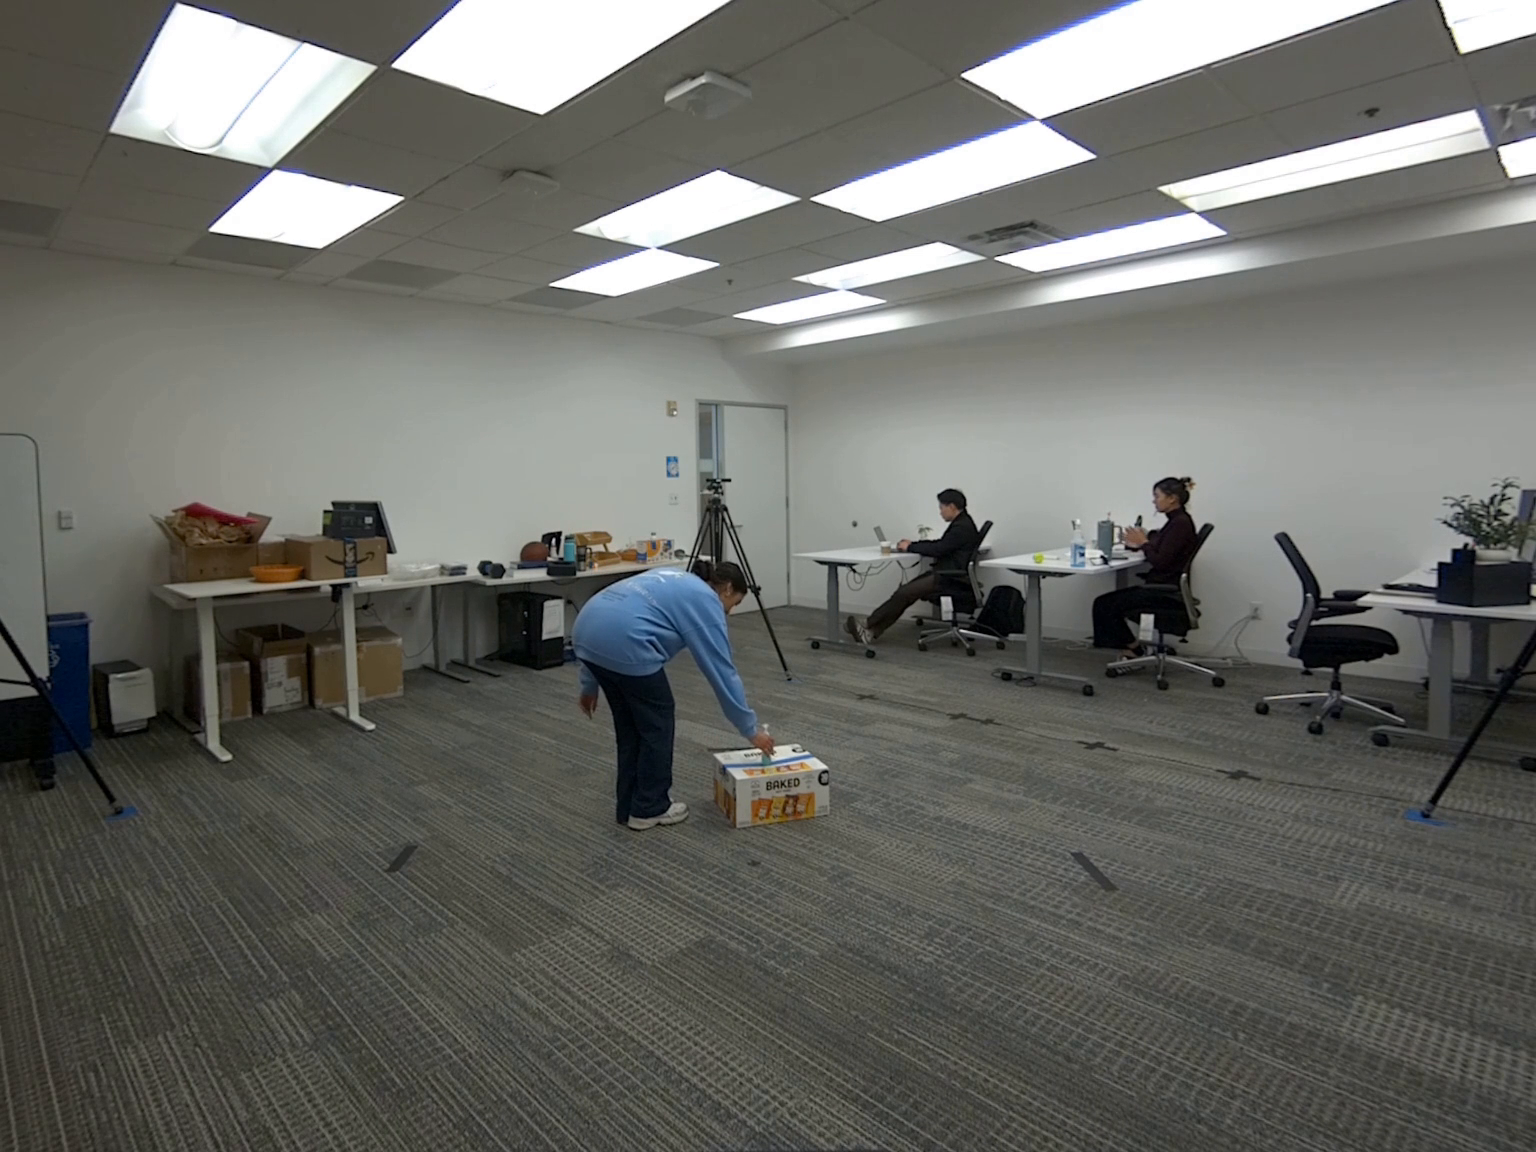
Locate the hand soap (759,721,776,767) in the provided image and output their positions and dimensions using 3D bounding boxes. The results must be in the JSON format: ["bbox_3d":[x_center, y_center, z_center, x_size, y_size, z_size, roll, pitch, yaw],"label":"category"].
[{"bbox_3d":[-0.008,0.706,3.611,0.044,0.168,0.083,-3,2,15],"label":"hand soap"}]
